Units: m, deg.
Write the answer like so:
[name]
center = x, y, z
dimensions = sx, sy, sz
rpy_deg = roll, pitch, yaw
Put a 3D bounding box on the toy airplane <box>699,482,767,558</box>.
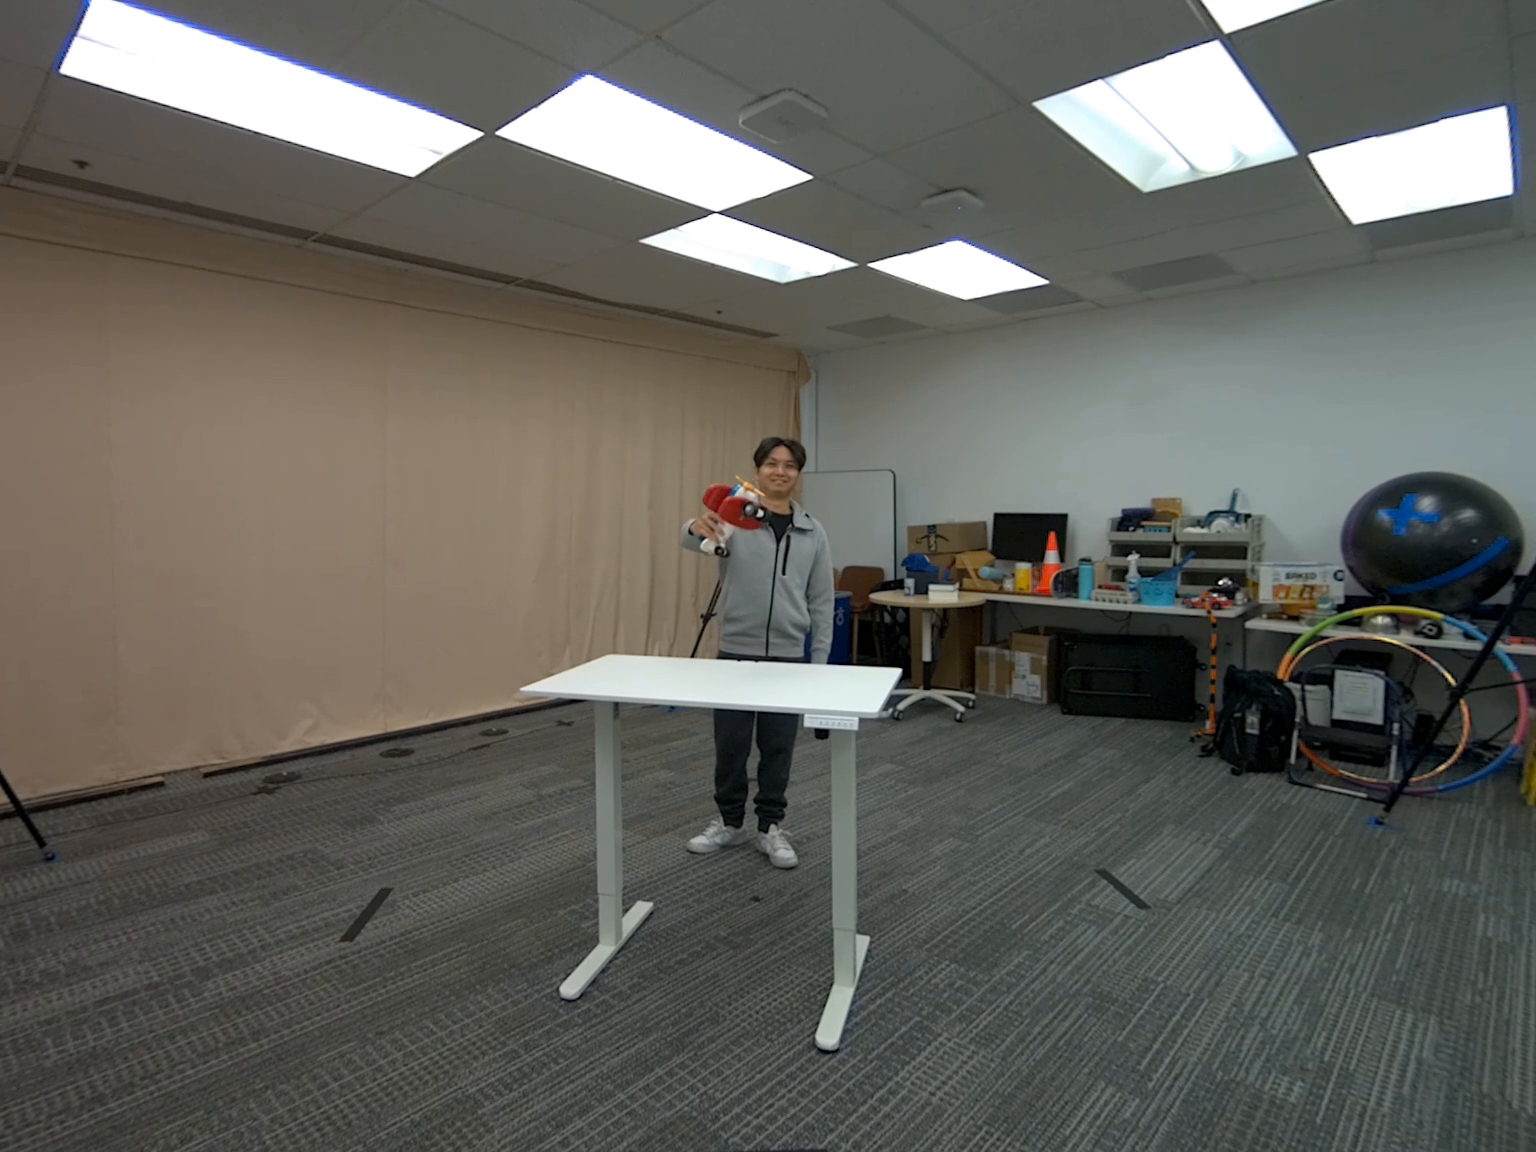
[toy airplane]
center = -0.130, -0.187, 2.748
dimensions = 0.258, 0.161, 0.245
rpy_deg = -33, -28, -6
